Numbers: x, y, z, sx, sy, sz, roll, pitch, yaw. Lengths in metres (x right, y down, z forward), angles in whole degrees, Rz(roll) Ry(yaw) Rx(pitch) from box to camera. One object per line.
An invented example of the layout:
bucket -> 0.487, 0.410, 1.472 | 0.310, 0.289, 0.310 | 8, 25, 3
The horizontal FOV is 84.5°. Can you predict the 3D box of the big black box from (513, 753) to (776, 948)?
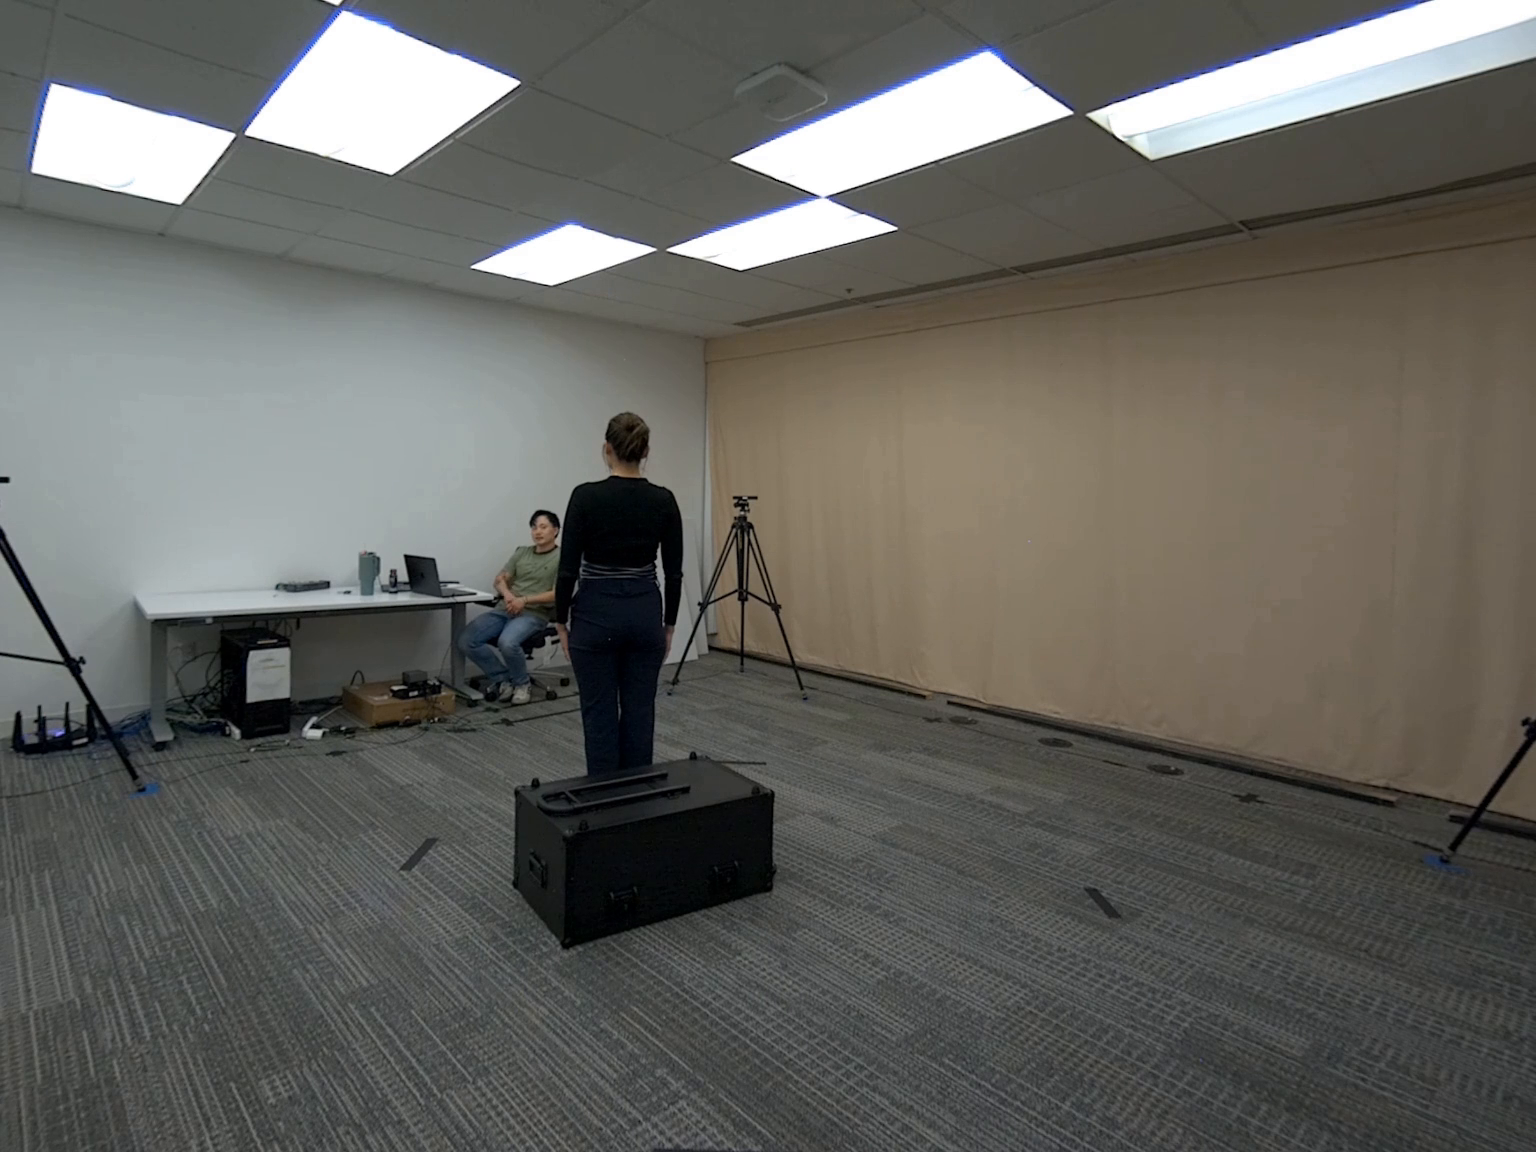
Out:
big black box -> -0.464, 0.935, 2.951 | 0.843, 0.395, 0.534 | -2, 5, -34
